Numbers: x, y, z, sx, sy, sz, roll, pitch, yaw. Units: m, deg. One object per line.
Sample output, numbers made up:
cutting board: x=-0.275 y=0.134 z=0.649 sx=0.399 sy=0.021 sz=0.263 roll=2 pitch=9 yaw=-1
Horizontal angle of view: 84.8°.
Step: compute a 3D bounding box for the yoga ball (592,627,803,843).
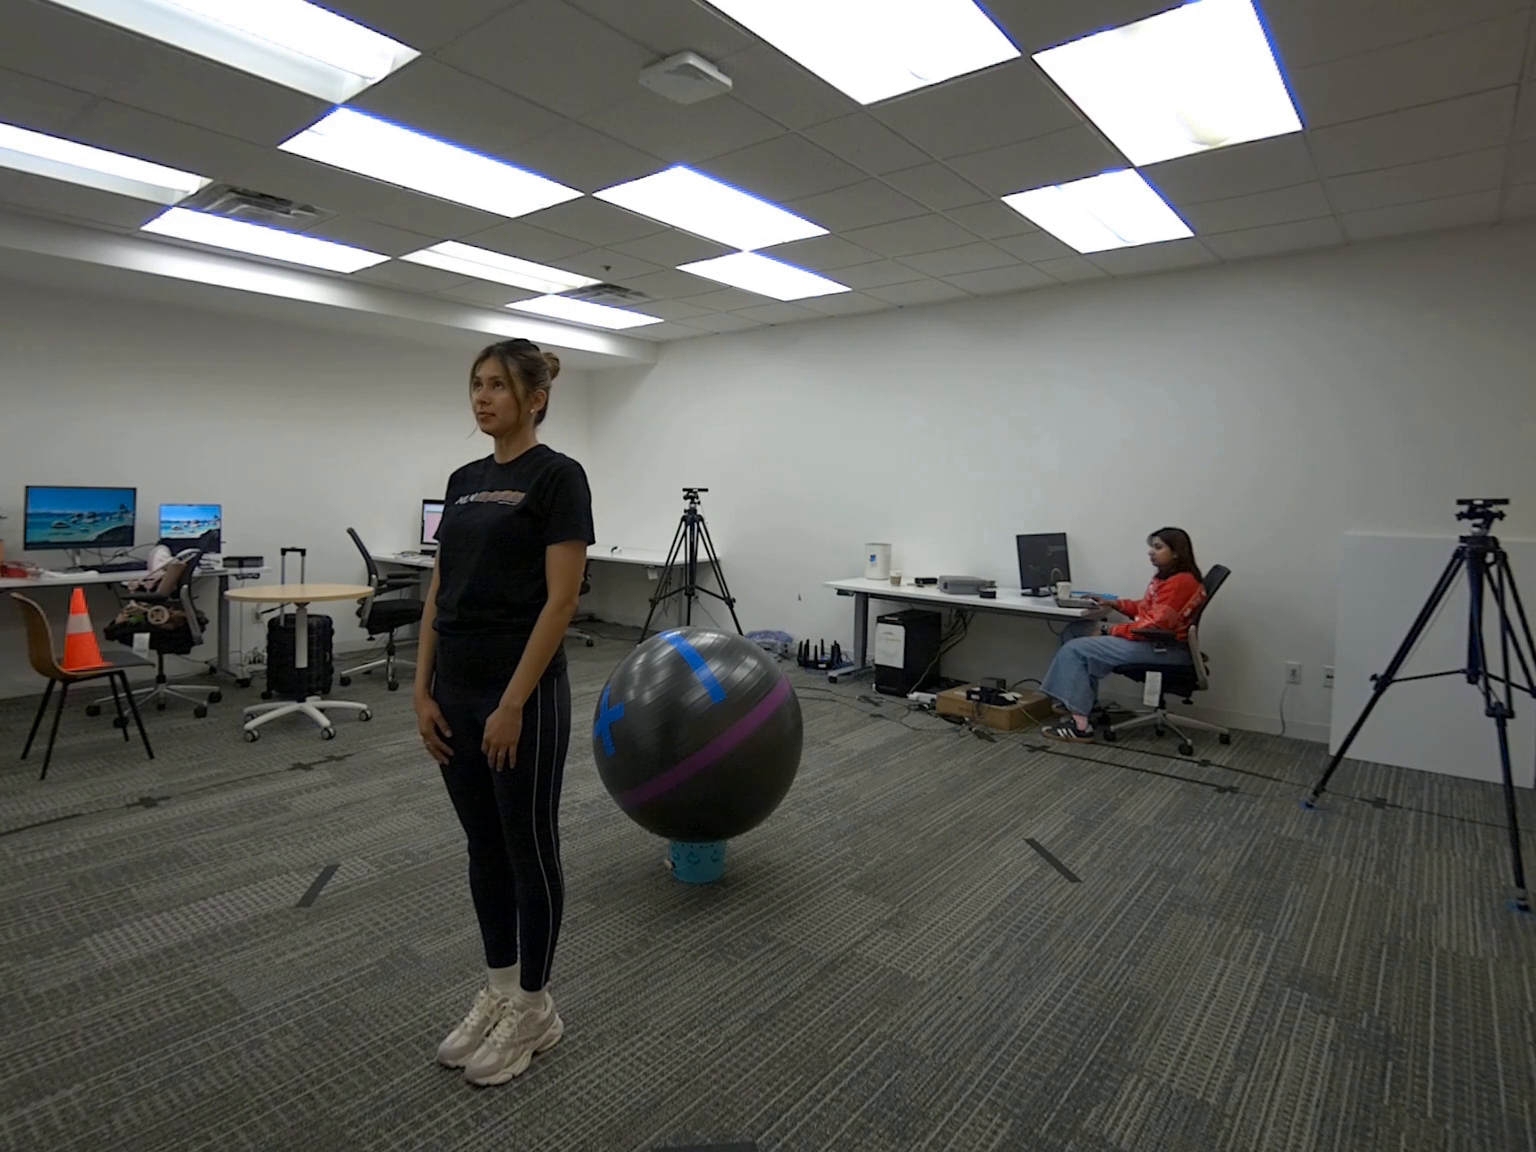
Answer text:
yoga ball: x=-0.262 y=0.563 z=3.068 sx=0.757 sy=0.755 sz=0.762 roll=1 pitch=4 yaw=-2
